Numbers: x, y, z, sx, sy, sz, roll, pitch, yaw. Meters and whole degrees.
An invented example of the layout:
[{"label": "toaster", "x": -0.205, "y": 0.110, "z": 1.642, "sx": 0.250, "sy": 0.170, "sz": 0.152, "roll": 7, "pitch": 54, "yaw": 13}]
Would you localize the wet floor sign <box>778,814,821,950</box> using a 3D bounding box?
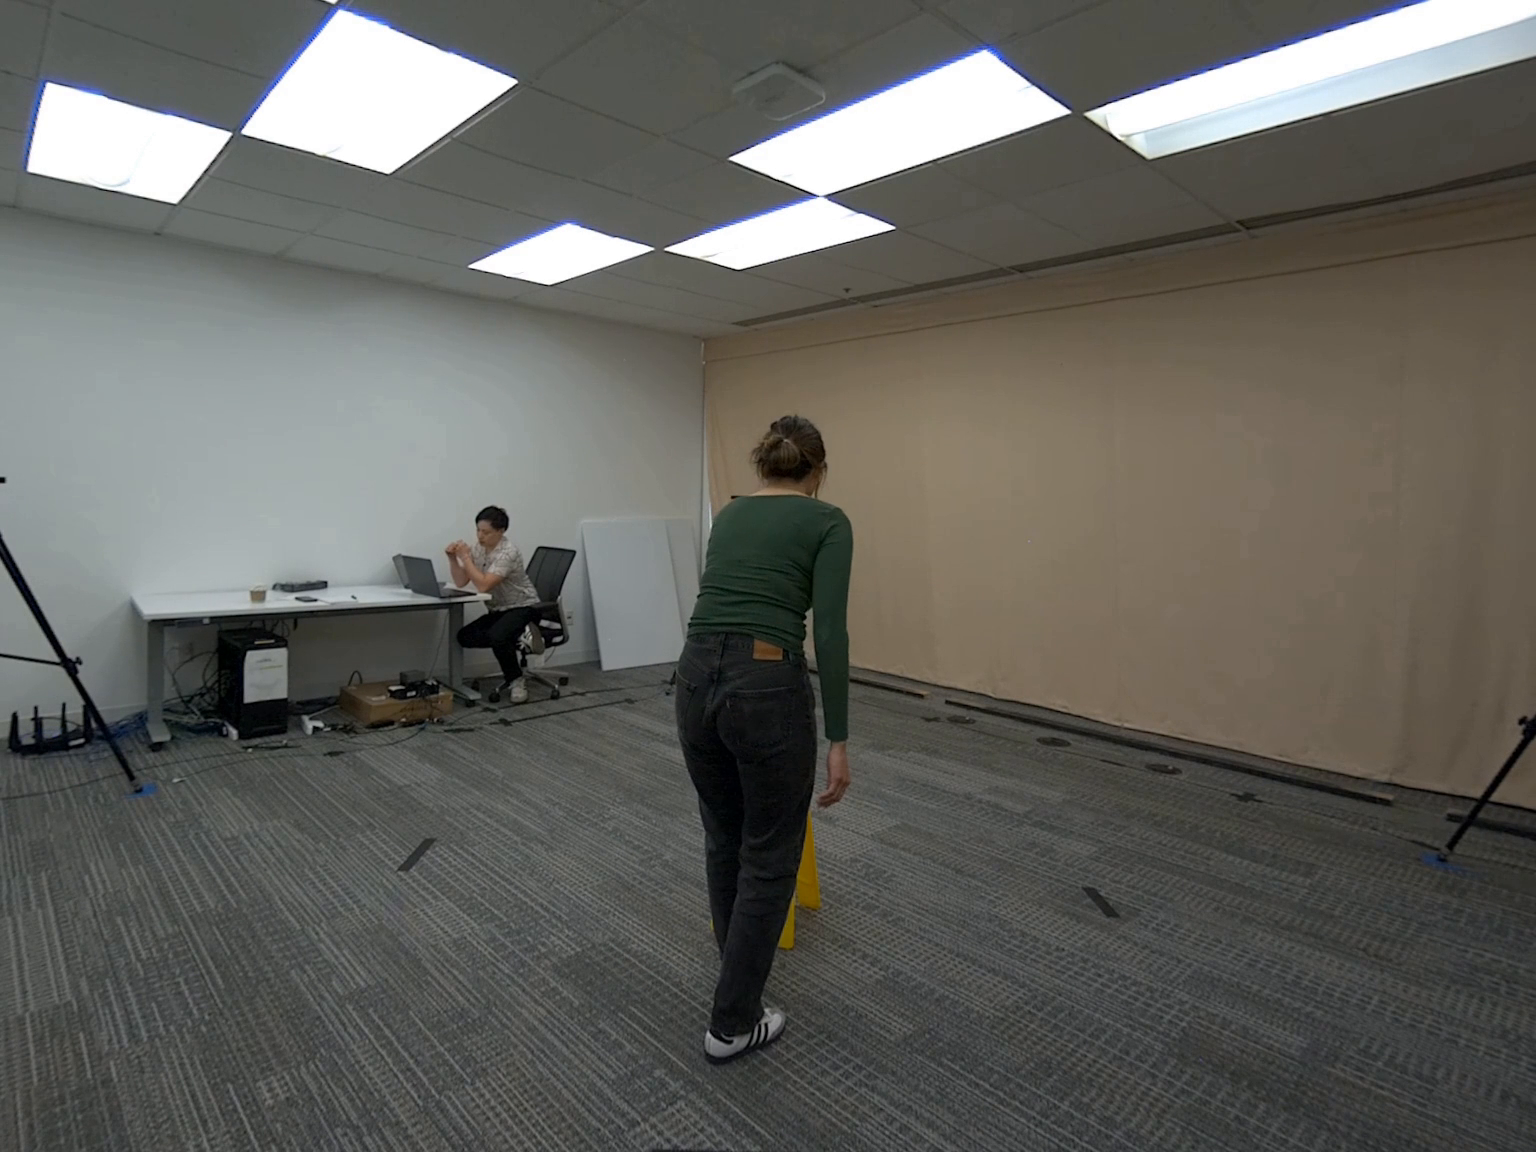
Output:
[{"label": "wet floor sign", "x": 0.004, "y": 0.816, "z": 2.763, "sx": 0.287, "sy": 0.644, "sz": 0.285, "roll": 4, "pitch": 3, "yaw": 23}]
